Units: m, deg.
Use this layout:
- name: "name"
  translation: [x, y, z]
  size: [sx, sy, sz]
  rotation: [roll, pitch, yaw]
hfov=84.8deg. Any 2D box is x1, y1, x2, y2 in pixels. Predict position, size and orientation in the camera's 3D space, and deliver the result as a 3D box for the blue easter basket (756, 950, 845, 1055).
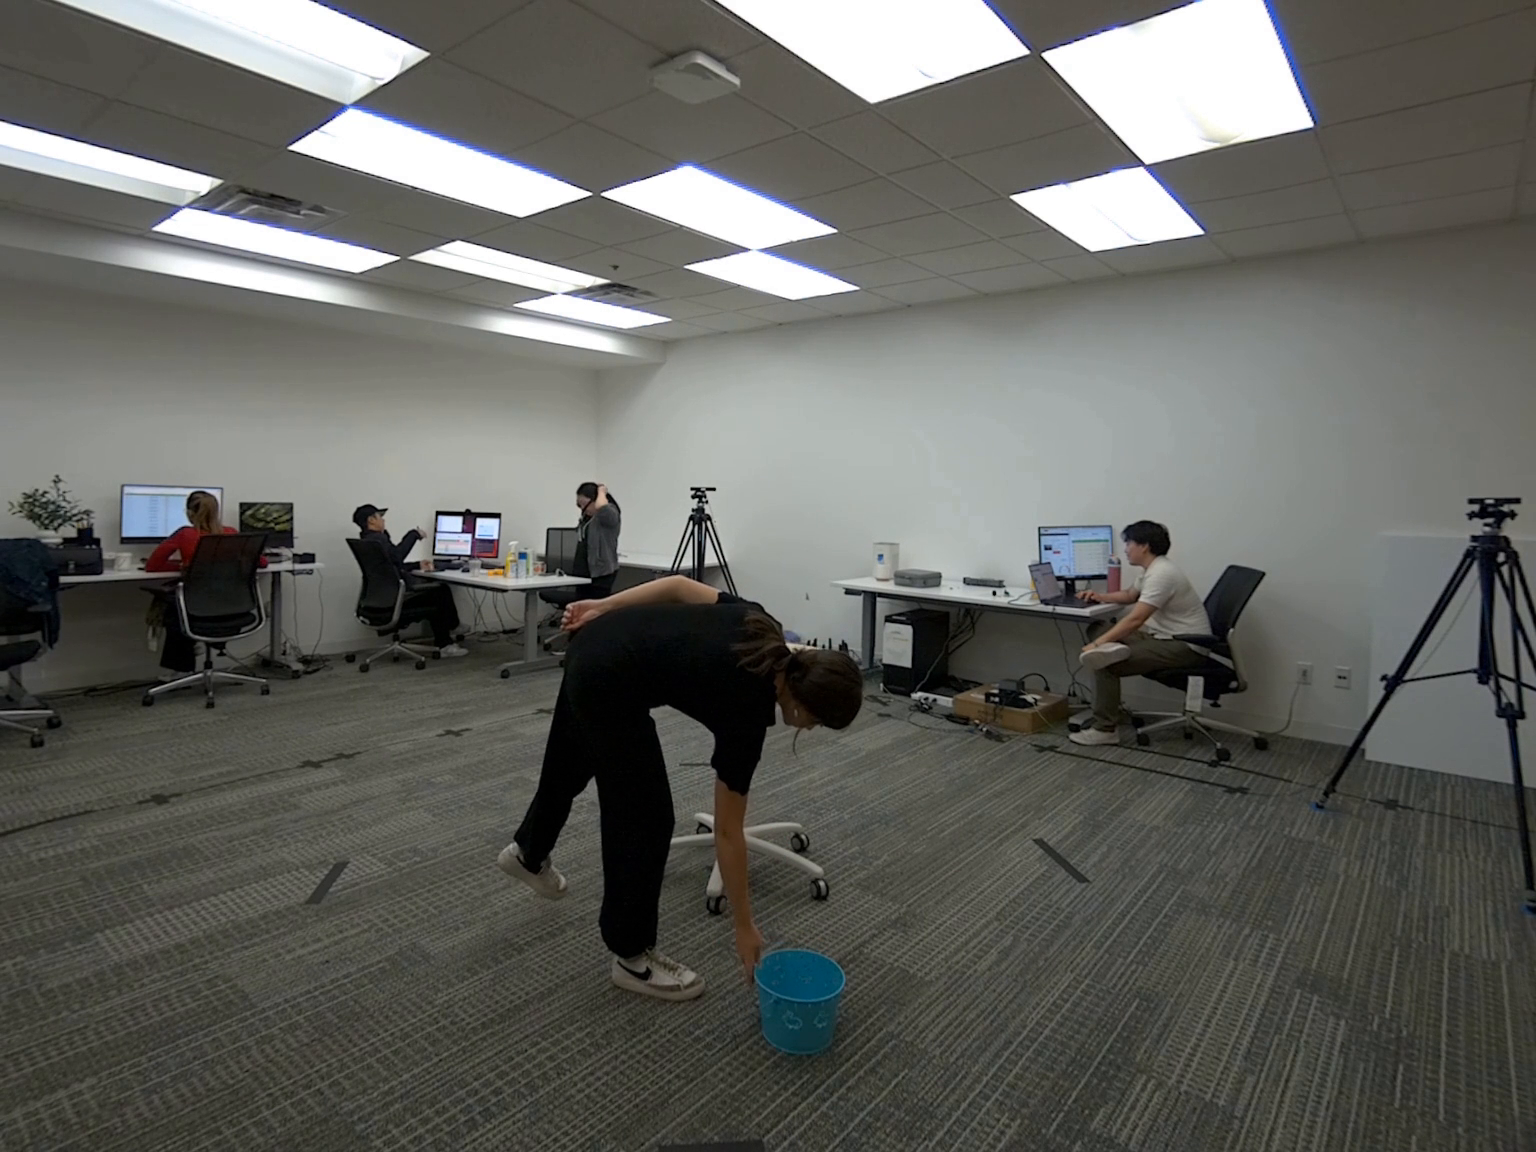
- name: "blue easter basket"
  translation: [0.079, 1.089, 2.185]
  size: [0.243, 0.155, 0.245]
  rotation: [1, 5, -2]
